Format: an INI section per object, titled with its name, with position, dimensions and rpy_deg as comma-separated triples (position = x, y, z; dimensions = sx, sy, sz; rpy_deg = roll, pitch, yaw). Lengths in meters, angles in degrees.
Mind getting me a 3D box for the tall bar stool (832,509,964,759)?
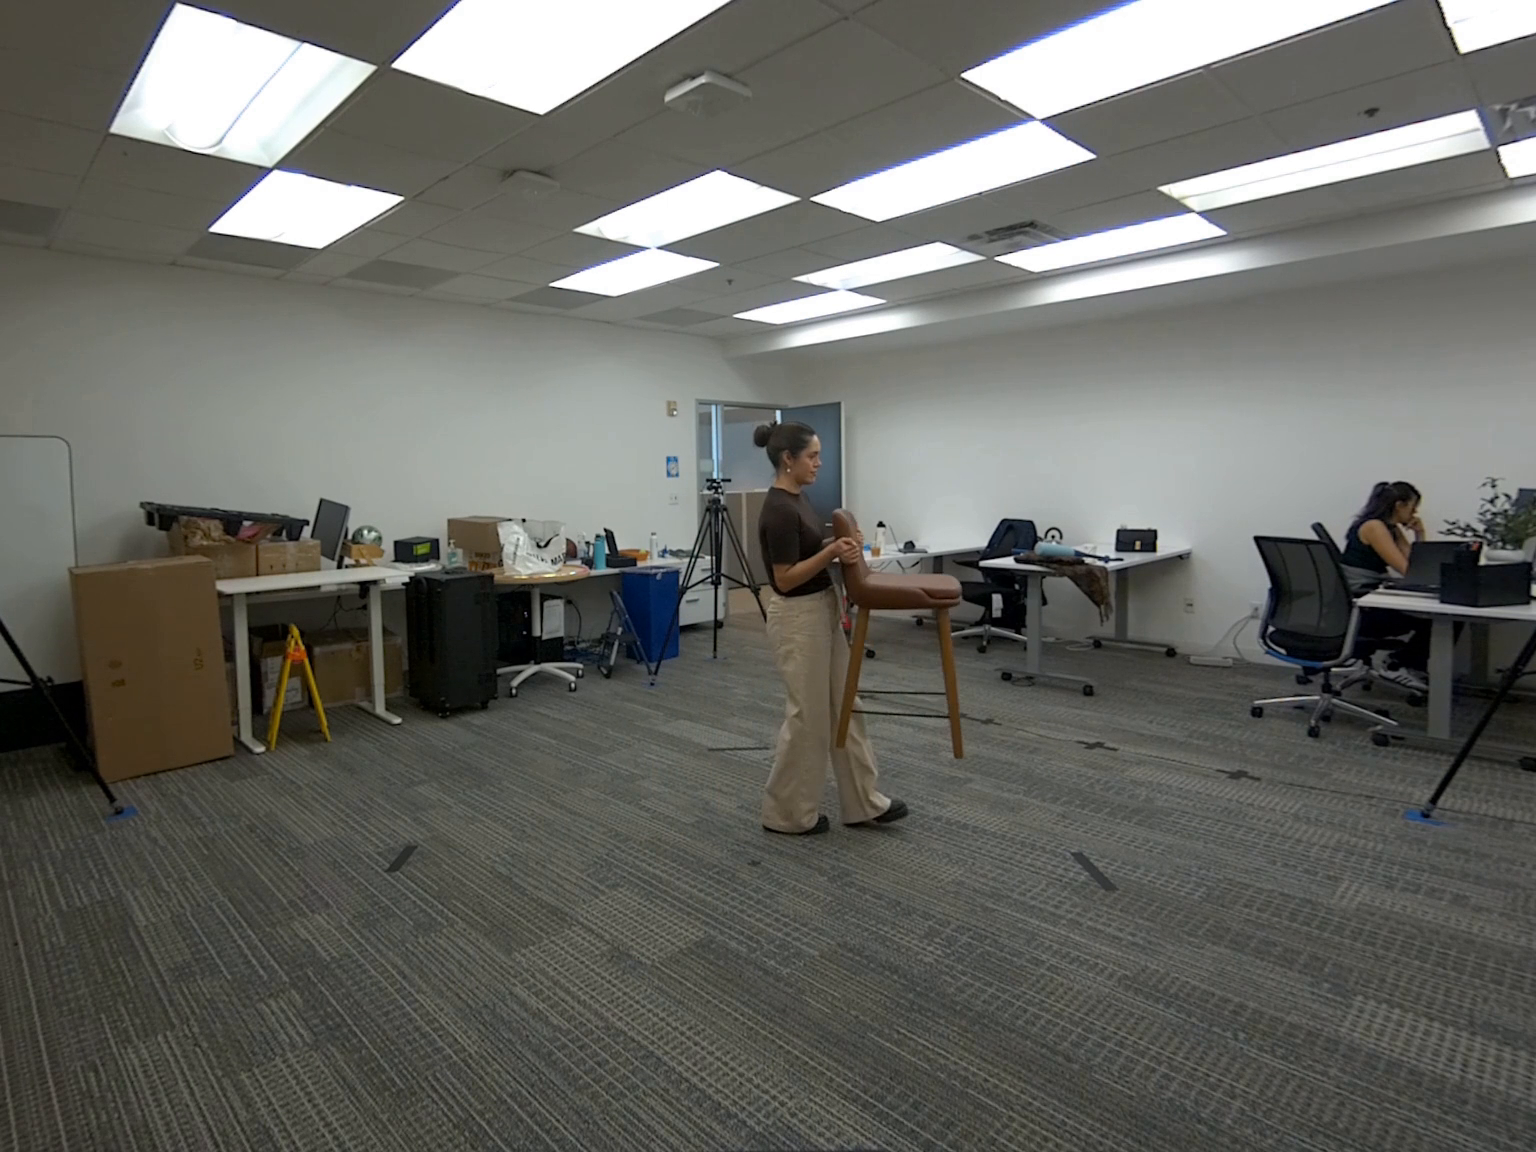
[tall bar stool]
position = 0.497, 0.197, 3.250
dimensions = 0.473, 0.887, 0.452
rpy_deg = -1, 3, 11
